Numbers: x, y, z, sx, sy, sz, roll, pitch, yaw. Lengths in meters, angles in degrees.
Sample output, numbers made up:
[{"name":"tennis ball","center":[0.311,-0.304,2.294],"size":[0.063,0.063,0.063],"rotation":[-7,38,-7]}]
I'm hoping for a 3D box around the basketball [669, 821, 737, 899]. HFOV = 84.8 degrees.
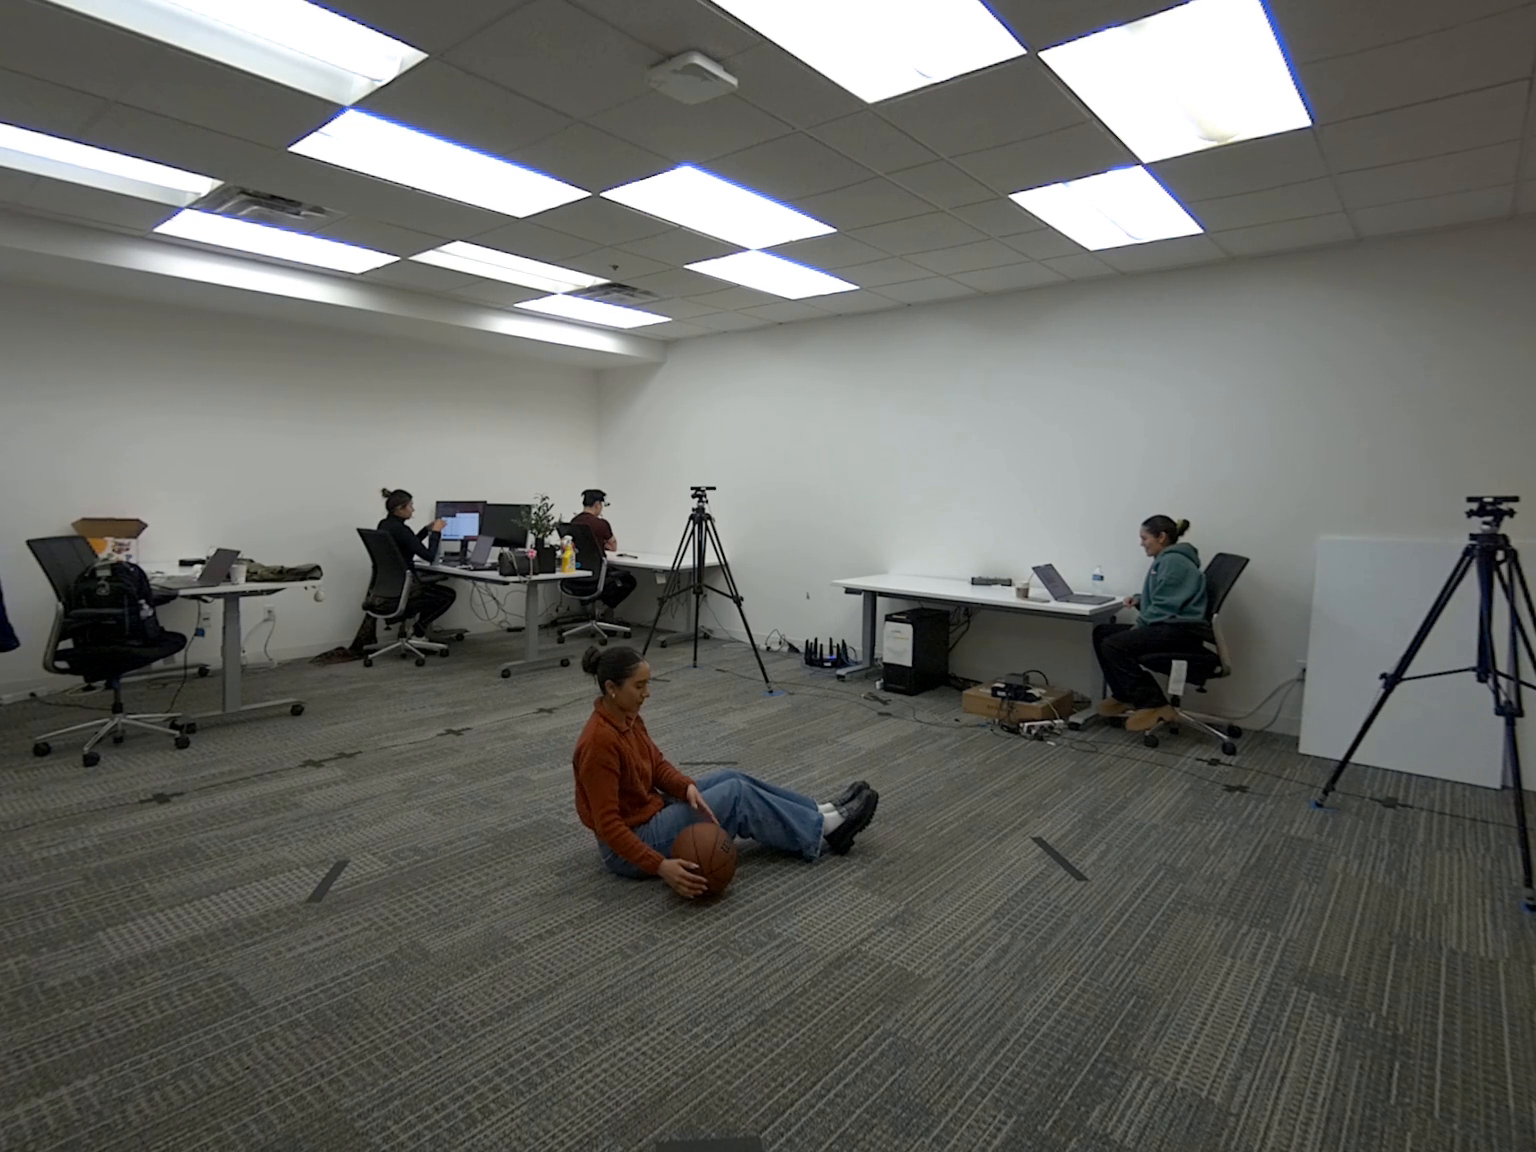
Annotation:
[{"name":"basketball","center":[-0.234,0.965,2.911],"size":[0.235,0.235,0.237],"rotation":[1,4,-2]}]
